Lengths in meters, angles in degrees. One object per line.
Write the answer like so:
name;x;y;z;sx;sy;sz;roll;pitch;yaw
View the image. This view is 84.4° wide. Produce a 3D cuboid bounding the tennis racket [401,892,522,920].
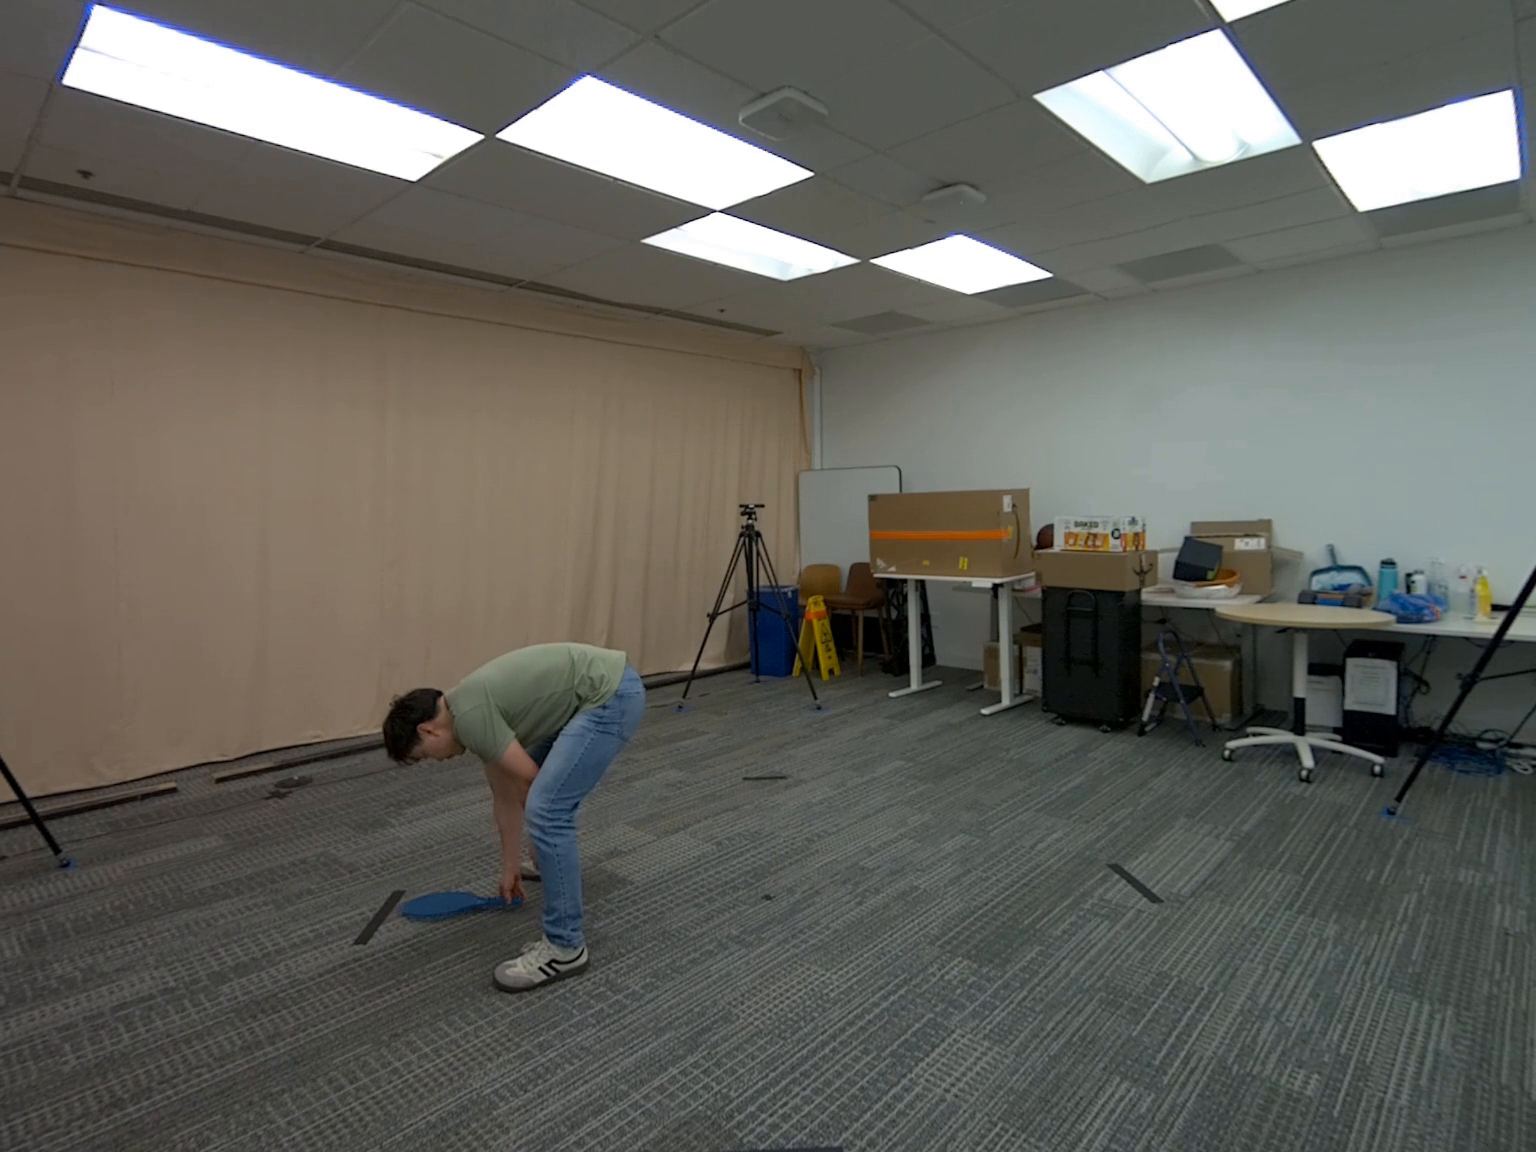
tennis racket;-1.058;1.137;2.945;0.437;0.032;0.211;-4;-2;8
